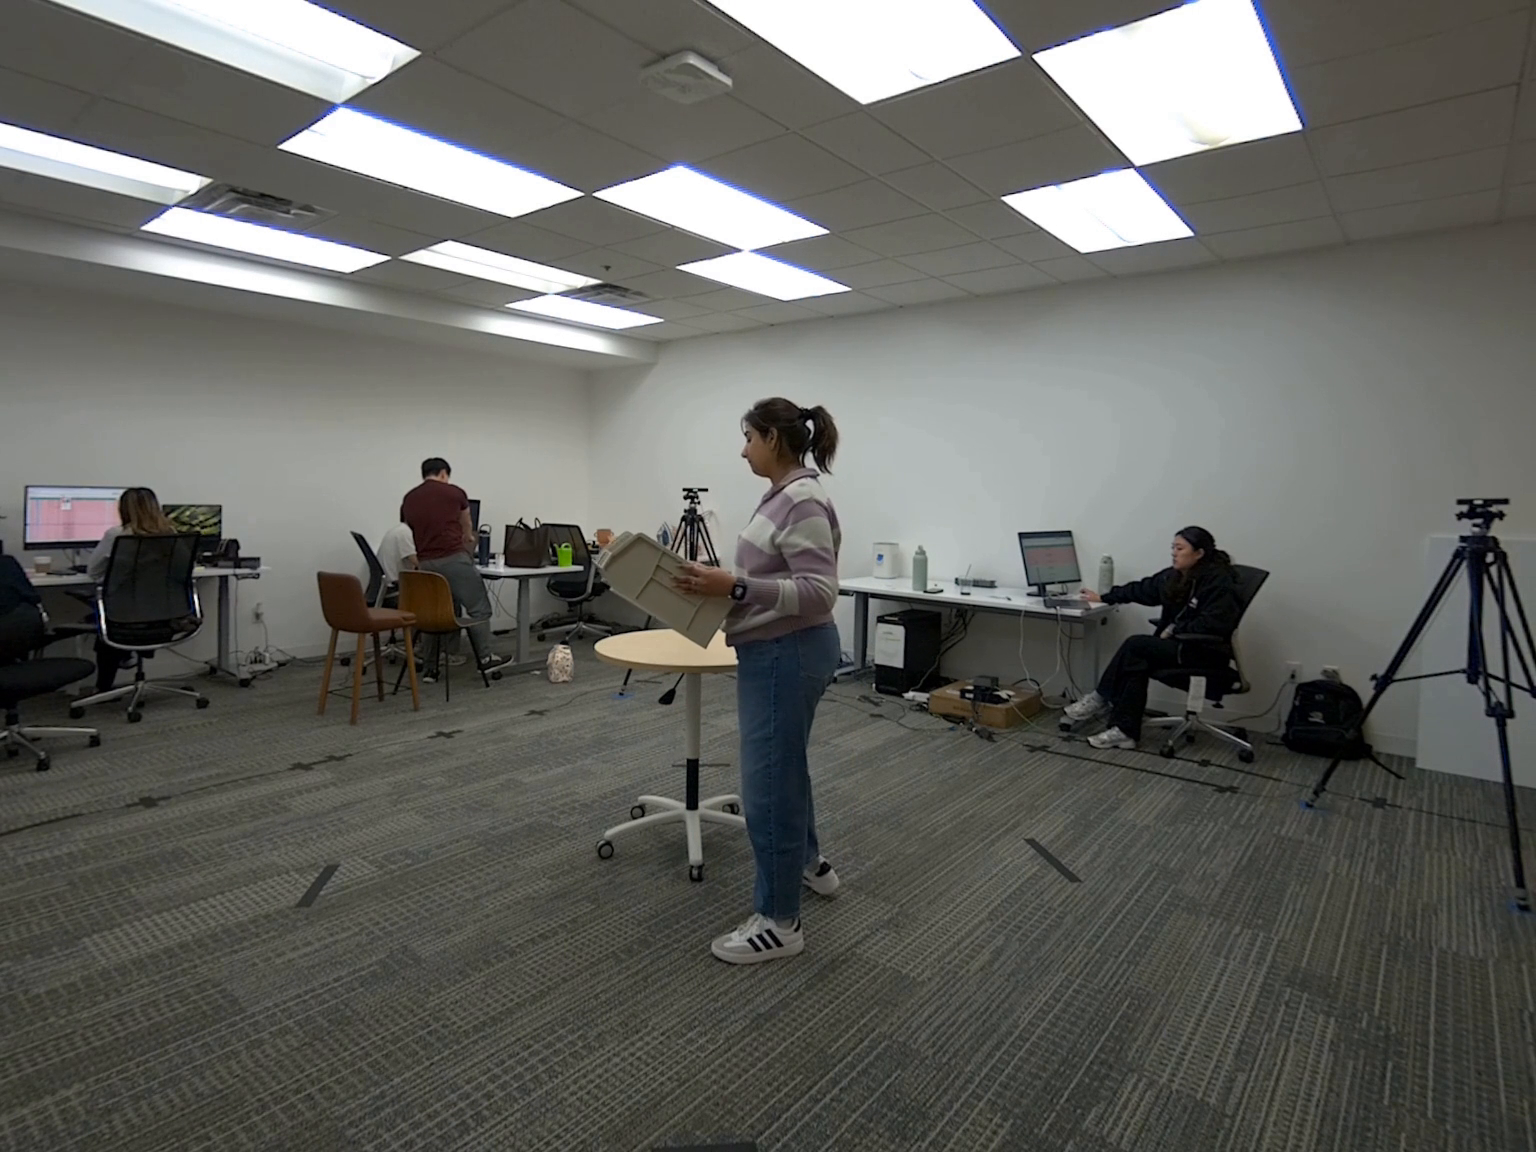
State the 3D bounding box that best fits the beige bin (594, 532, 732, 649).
[{"bbox_3d":[-0.331,0.021,2.534,0.372,0.189,0.428,34,-4,-12],"label":"beige bin"}]
